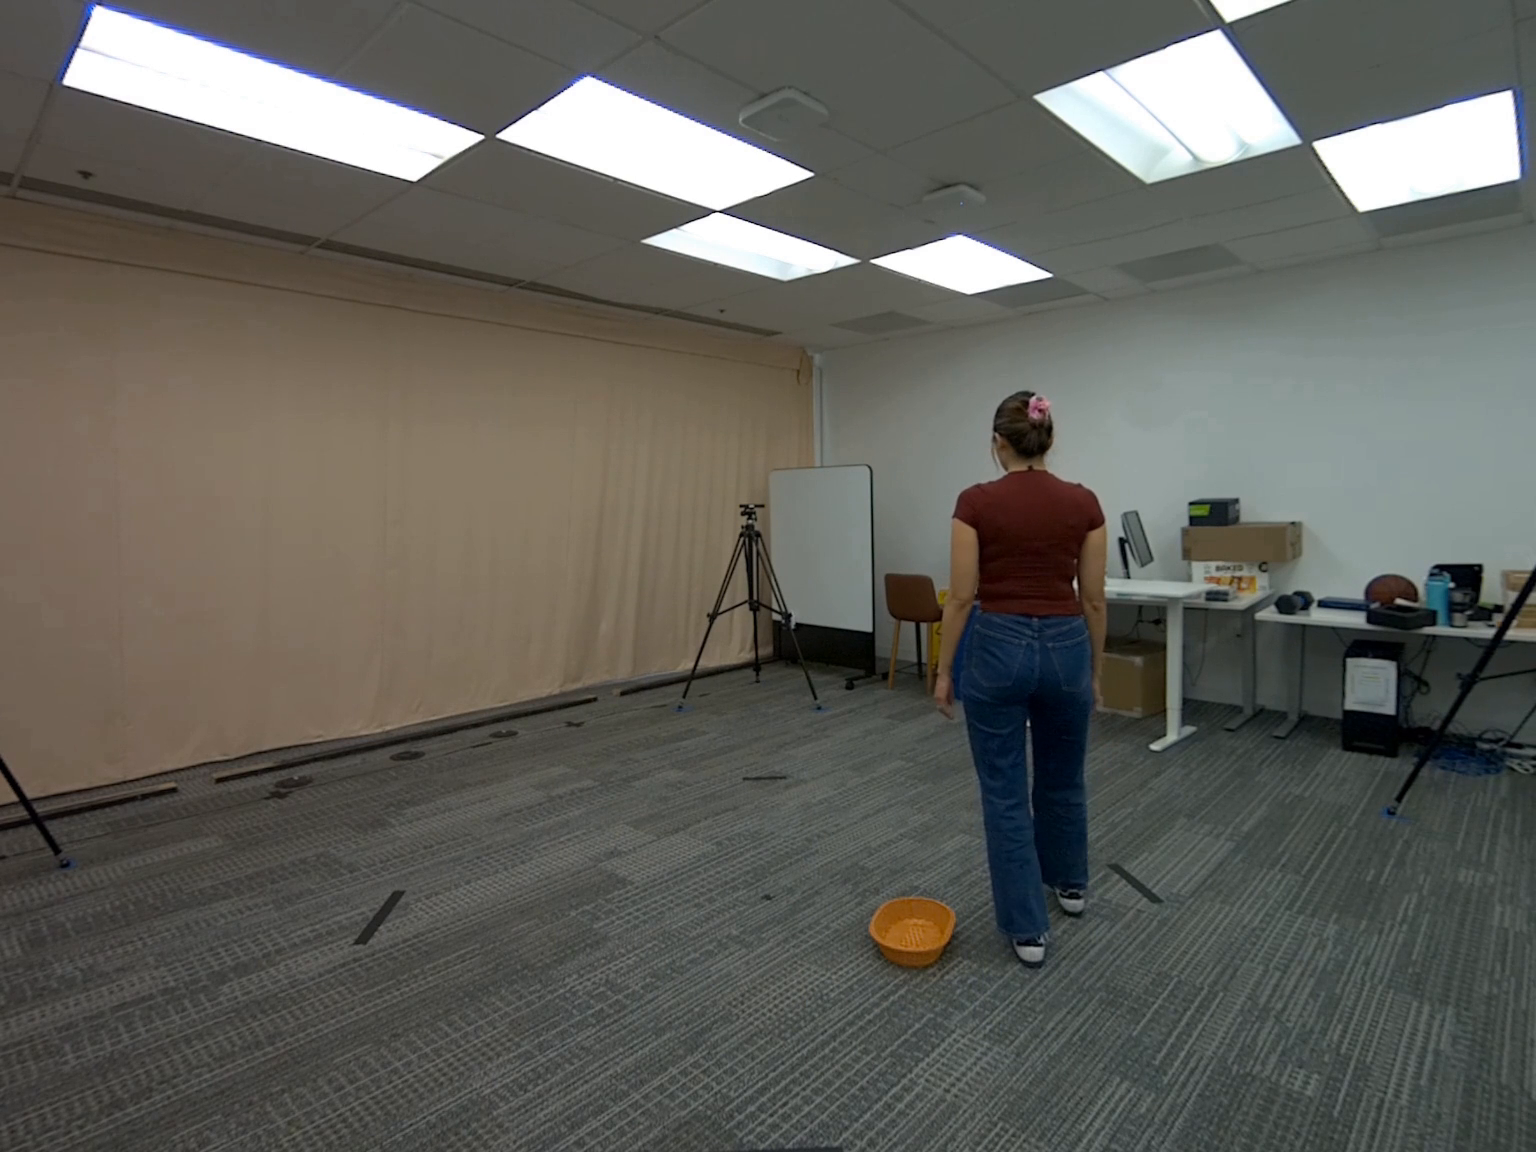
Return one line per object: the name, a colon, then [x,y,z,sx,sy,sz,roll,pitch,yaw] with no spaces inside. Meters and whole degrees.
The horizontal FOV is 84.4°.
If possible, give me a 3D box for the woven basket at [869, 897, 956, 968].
woven basket: [0.457,1.123,2.653,0.259,0.073,0.342,-1,4,25]
